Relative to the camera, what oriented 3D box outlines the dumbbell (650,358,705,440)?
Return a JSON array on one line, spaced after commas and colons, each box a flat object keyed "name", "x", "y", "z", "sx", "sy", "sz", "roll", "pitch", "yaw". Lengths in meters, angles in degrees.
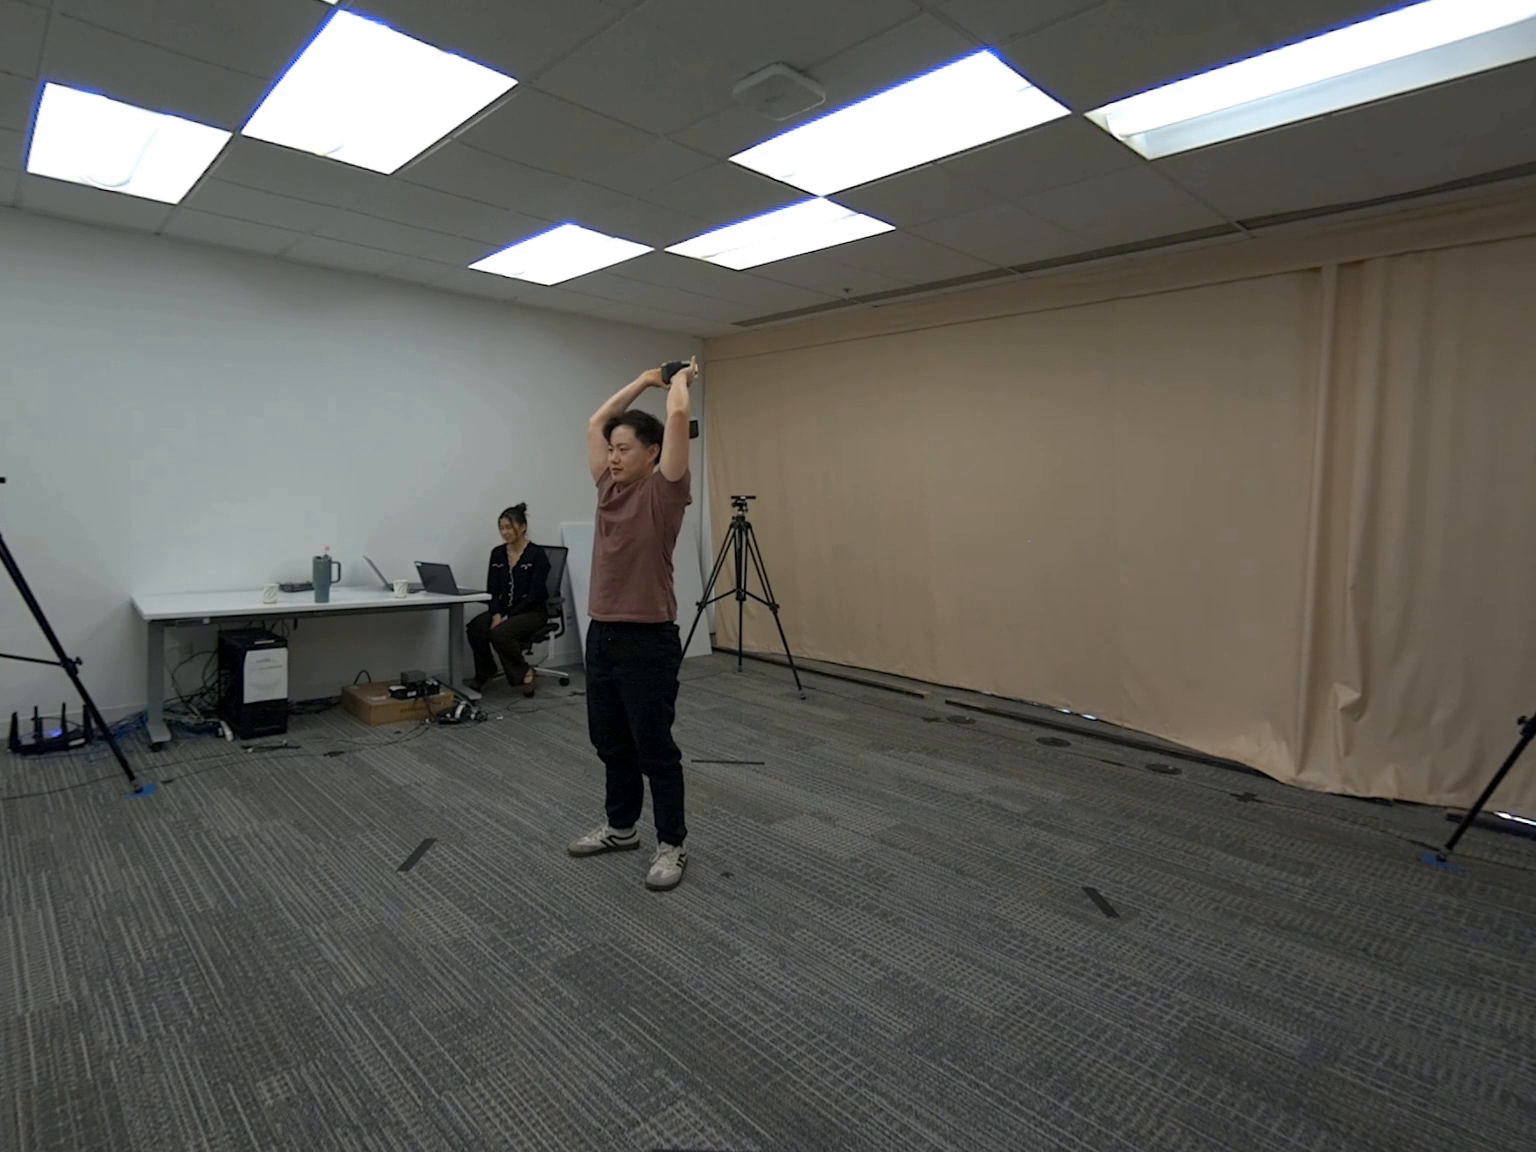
[{"name": "dumbbell", "x": -0.345, "y": -0.667, "z": 3.204, "sx": 0.111, "sy": 0.290, "sz": 0.121, "roll": 5, "pitch": 18, "yaw": 43}]
